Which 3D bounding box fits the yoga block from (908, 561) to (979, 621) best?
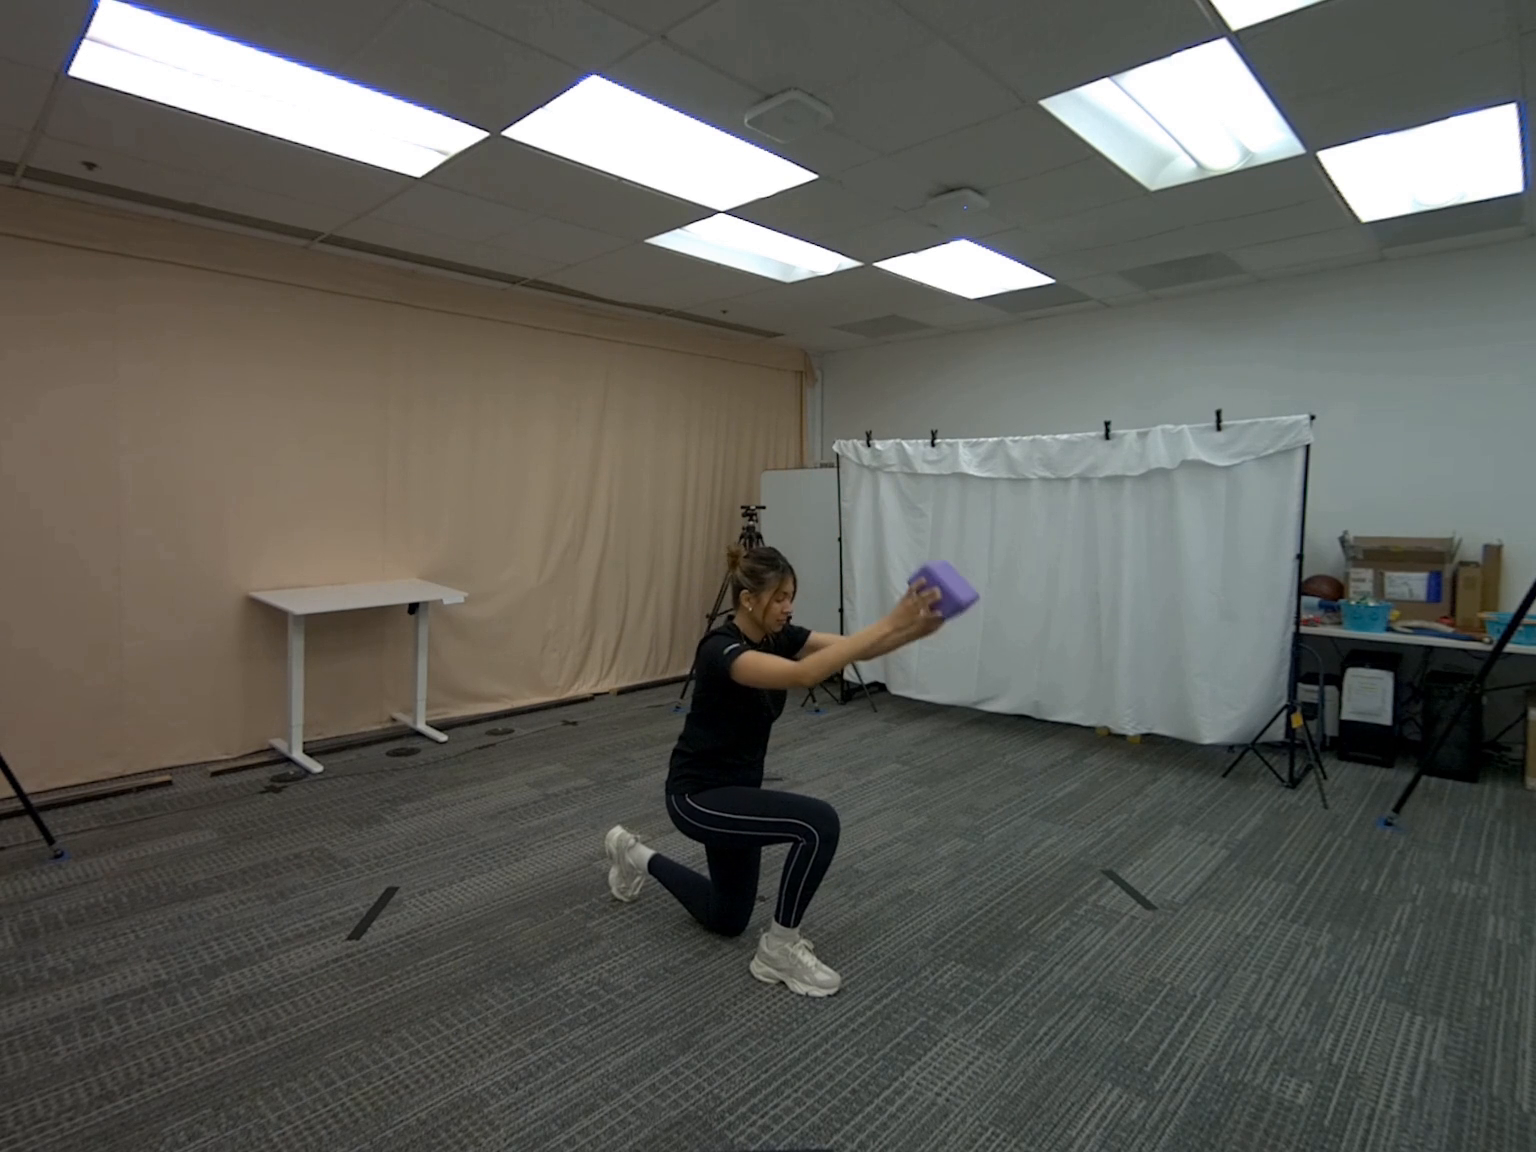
[{"bbox_3d":[0.458,0.019,2.307,0.153,0.076,0.224,32,15,19],"label":"yoga block"}]
